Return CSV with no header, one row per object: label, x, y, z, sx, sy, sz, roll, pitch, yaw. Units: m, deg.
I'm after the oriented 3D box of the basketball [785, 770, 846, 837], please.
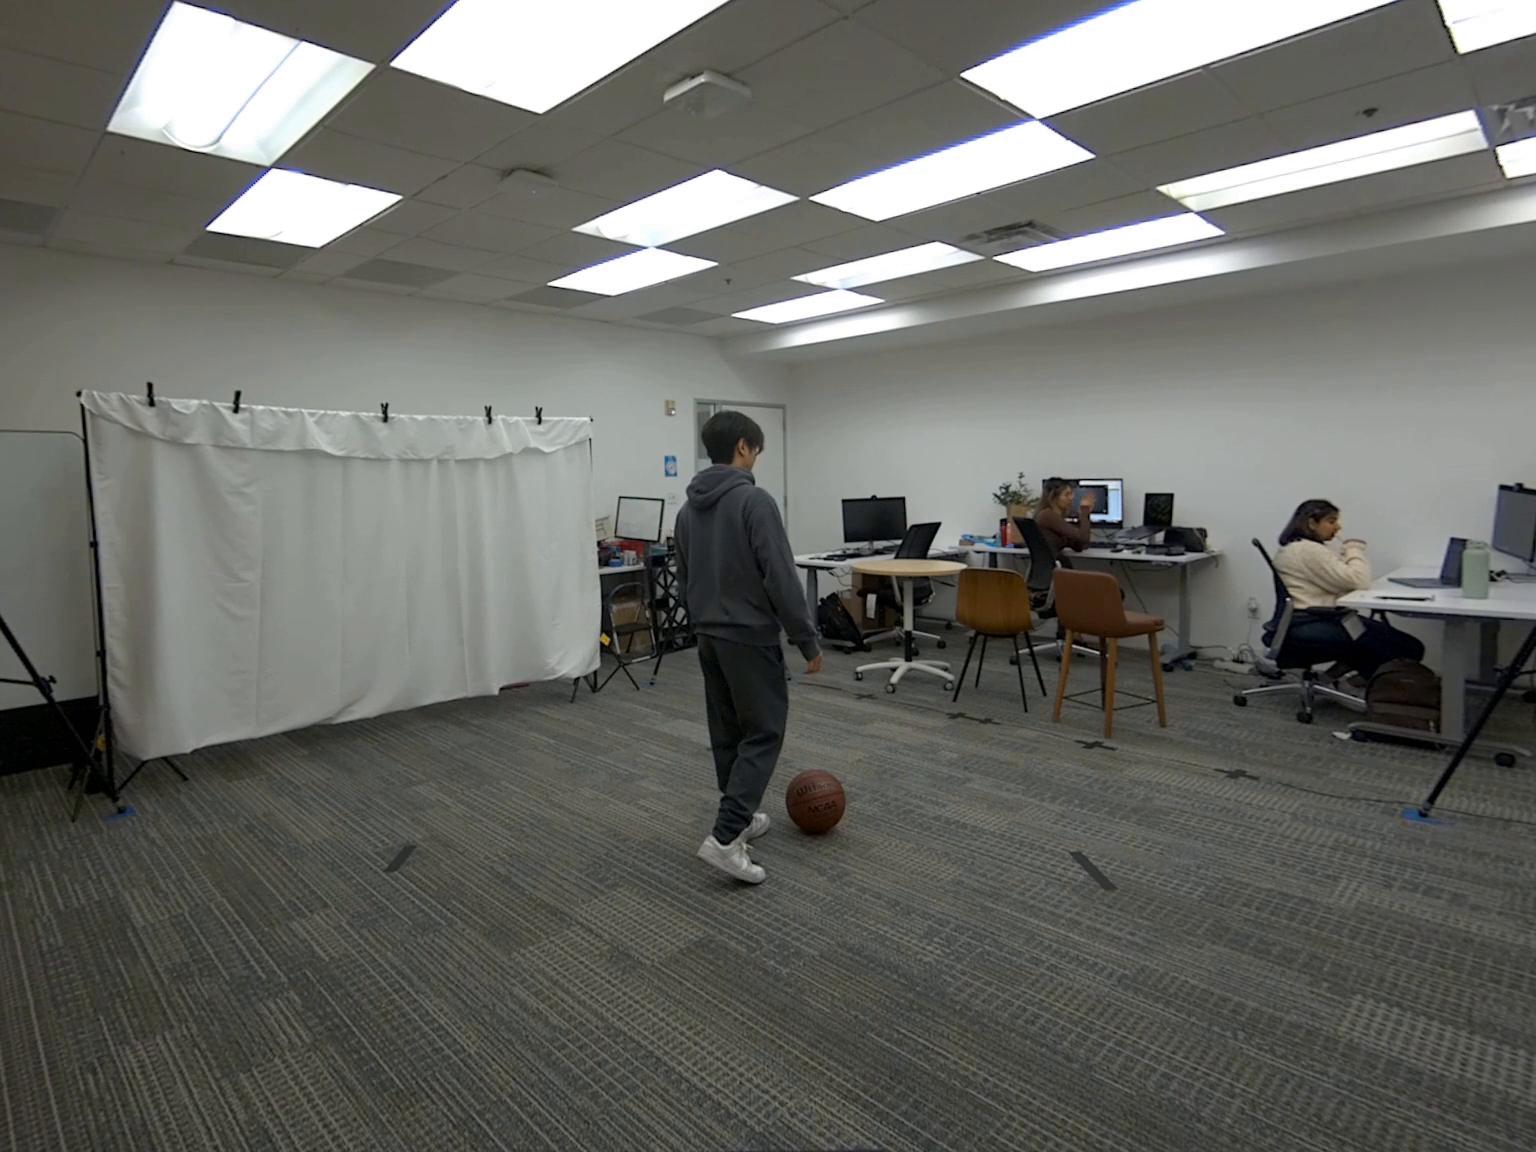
basketball,0.186,0.885,3.379,0.236,0.235,0.237,-1,5,-2
